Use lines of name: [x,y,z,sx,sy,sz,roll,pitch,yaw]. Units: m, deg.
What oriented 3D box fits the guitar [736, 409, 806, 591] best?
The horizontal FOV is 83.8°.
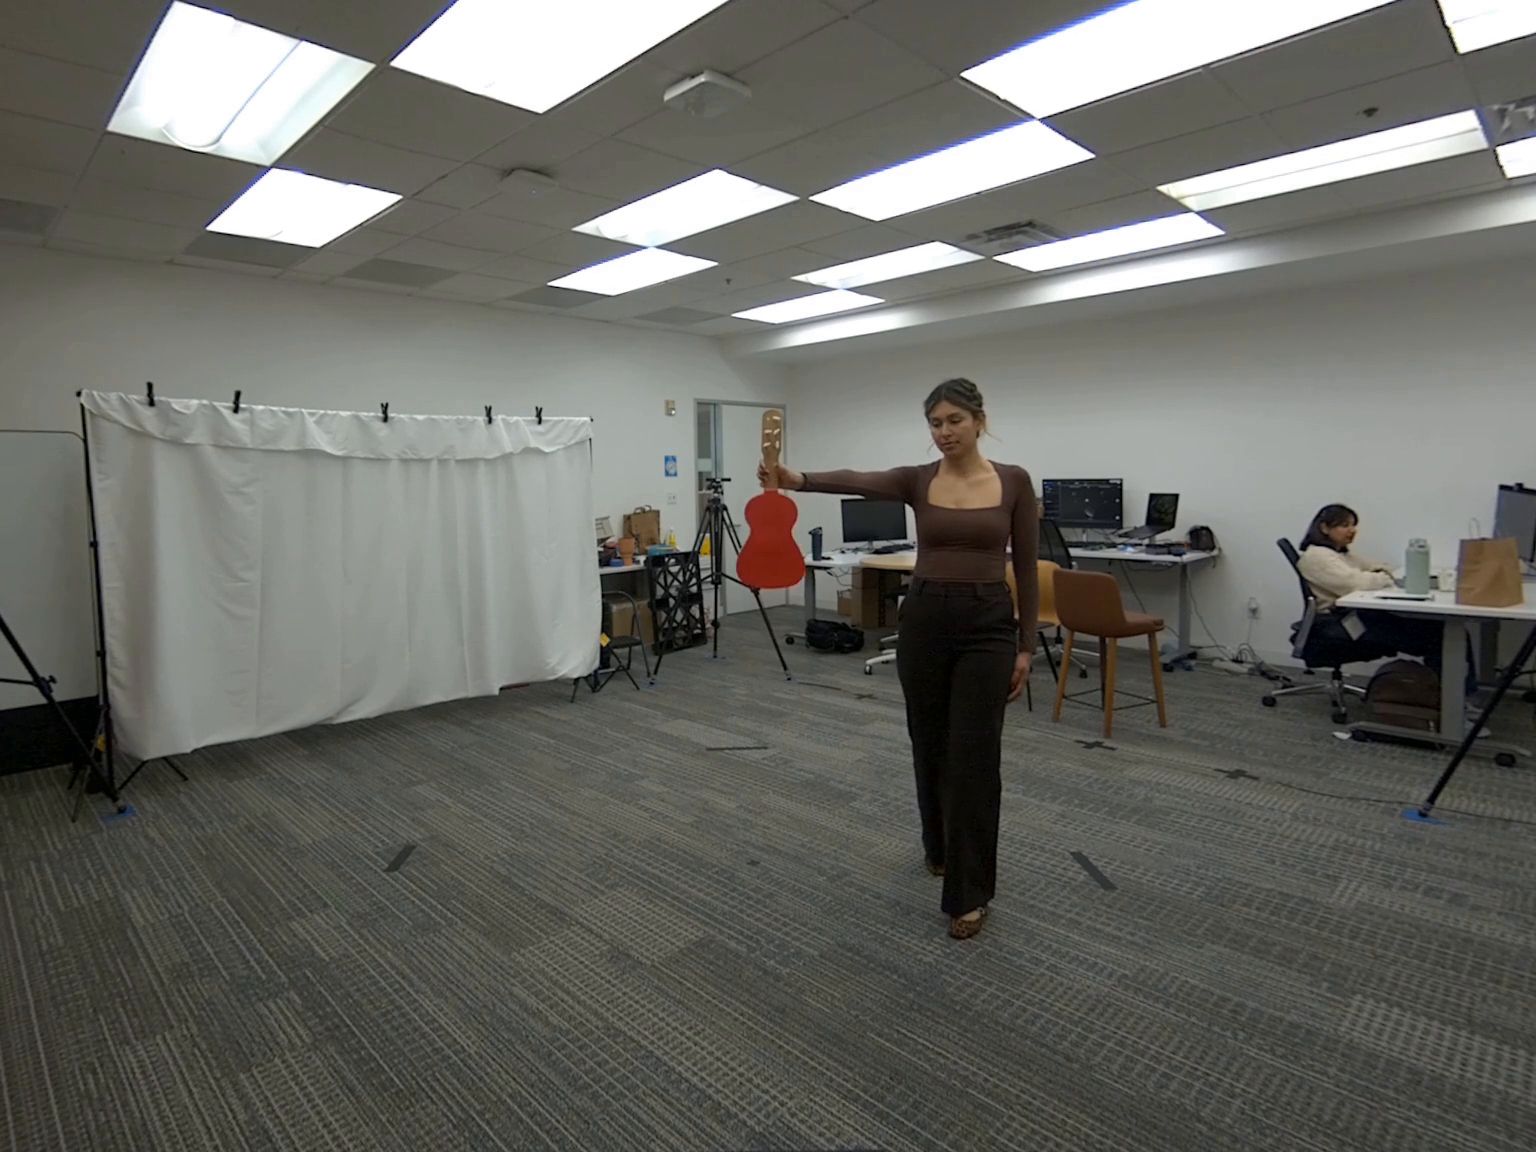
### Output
guitar: [-0.015,-0.210,2.406,0.193,0.495,0.071,-9,5,2]
